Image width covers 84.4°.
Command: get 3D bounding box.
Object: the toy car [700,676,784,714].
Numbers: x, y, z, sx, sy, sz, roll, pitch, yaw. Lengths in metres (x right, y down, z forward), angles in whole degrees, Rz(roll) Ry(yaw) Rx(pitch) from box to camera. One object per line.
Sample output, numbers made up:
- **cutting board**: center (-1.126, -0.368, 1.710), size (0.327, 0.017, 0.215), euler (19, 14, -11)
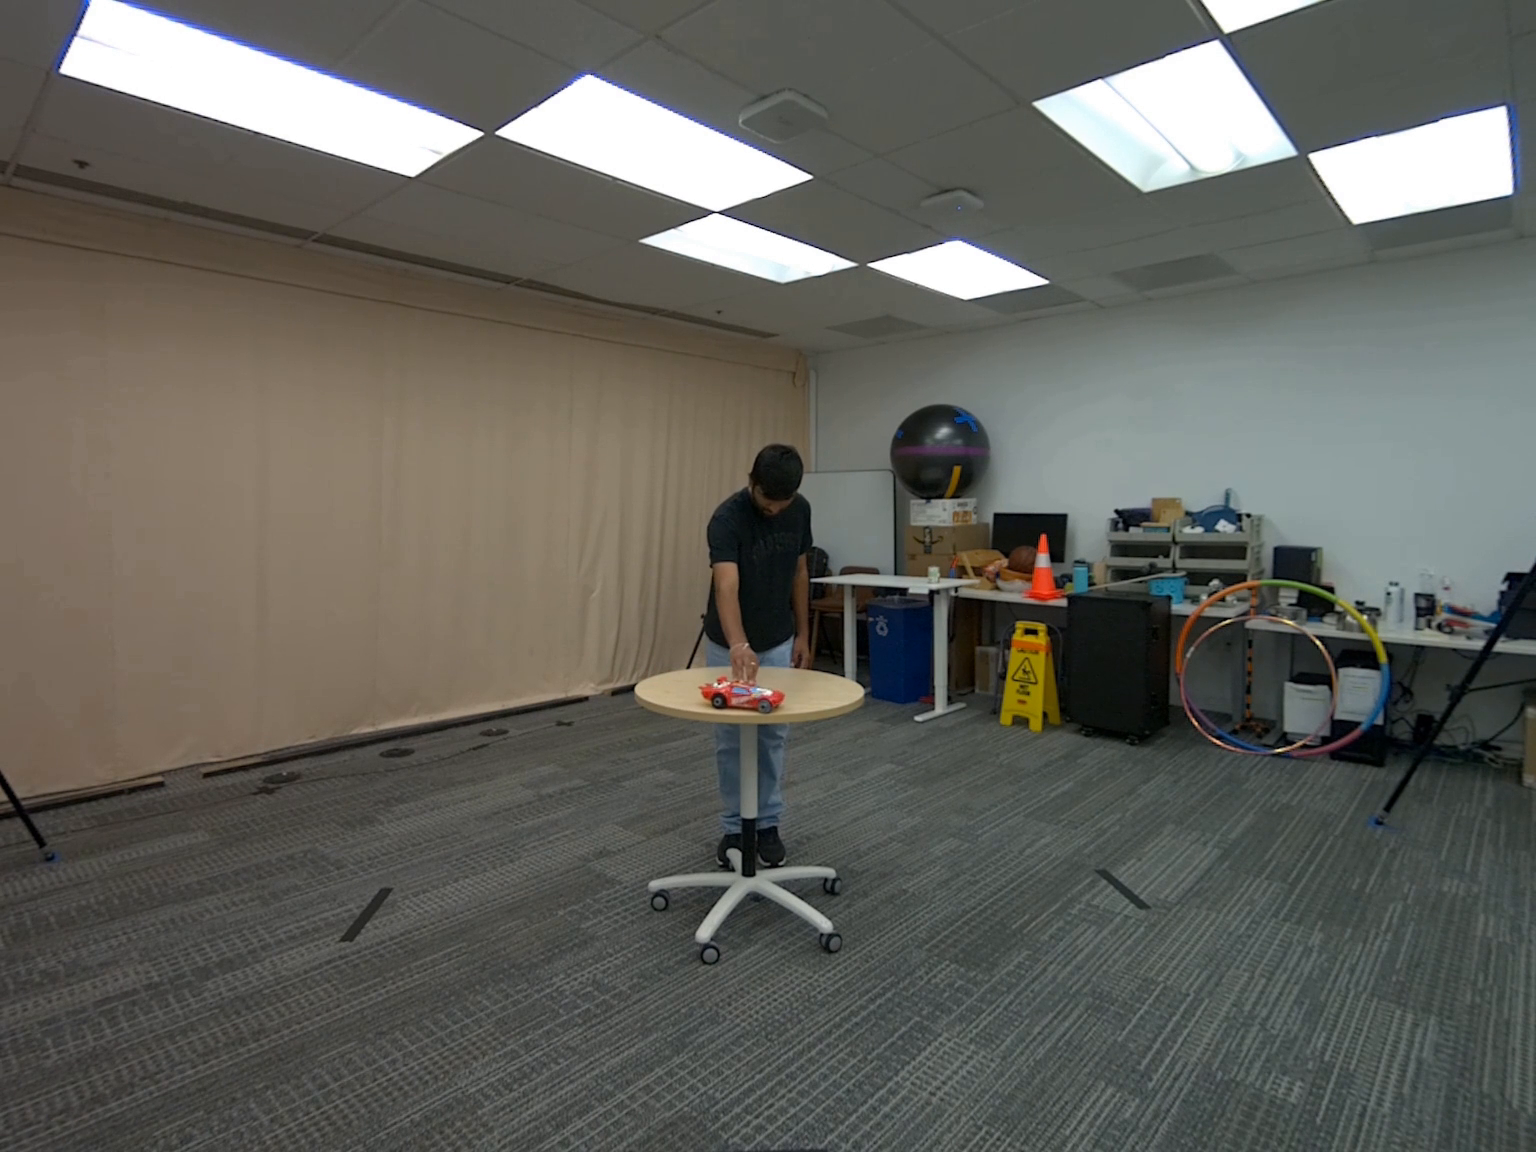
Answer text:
- **toy car**: center (-0.084, 0.363, 2.549), size (0.260, 0.083, 0.128), euler (13, 10, 20)
